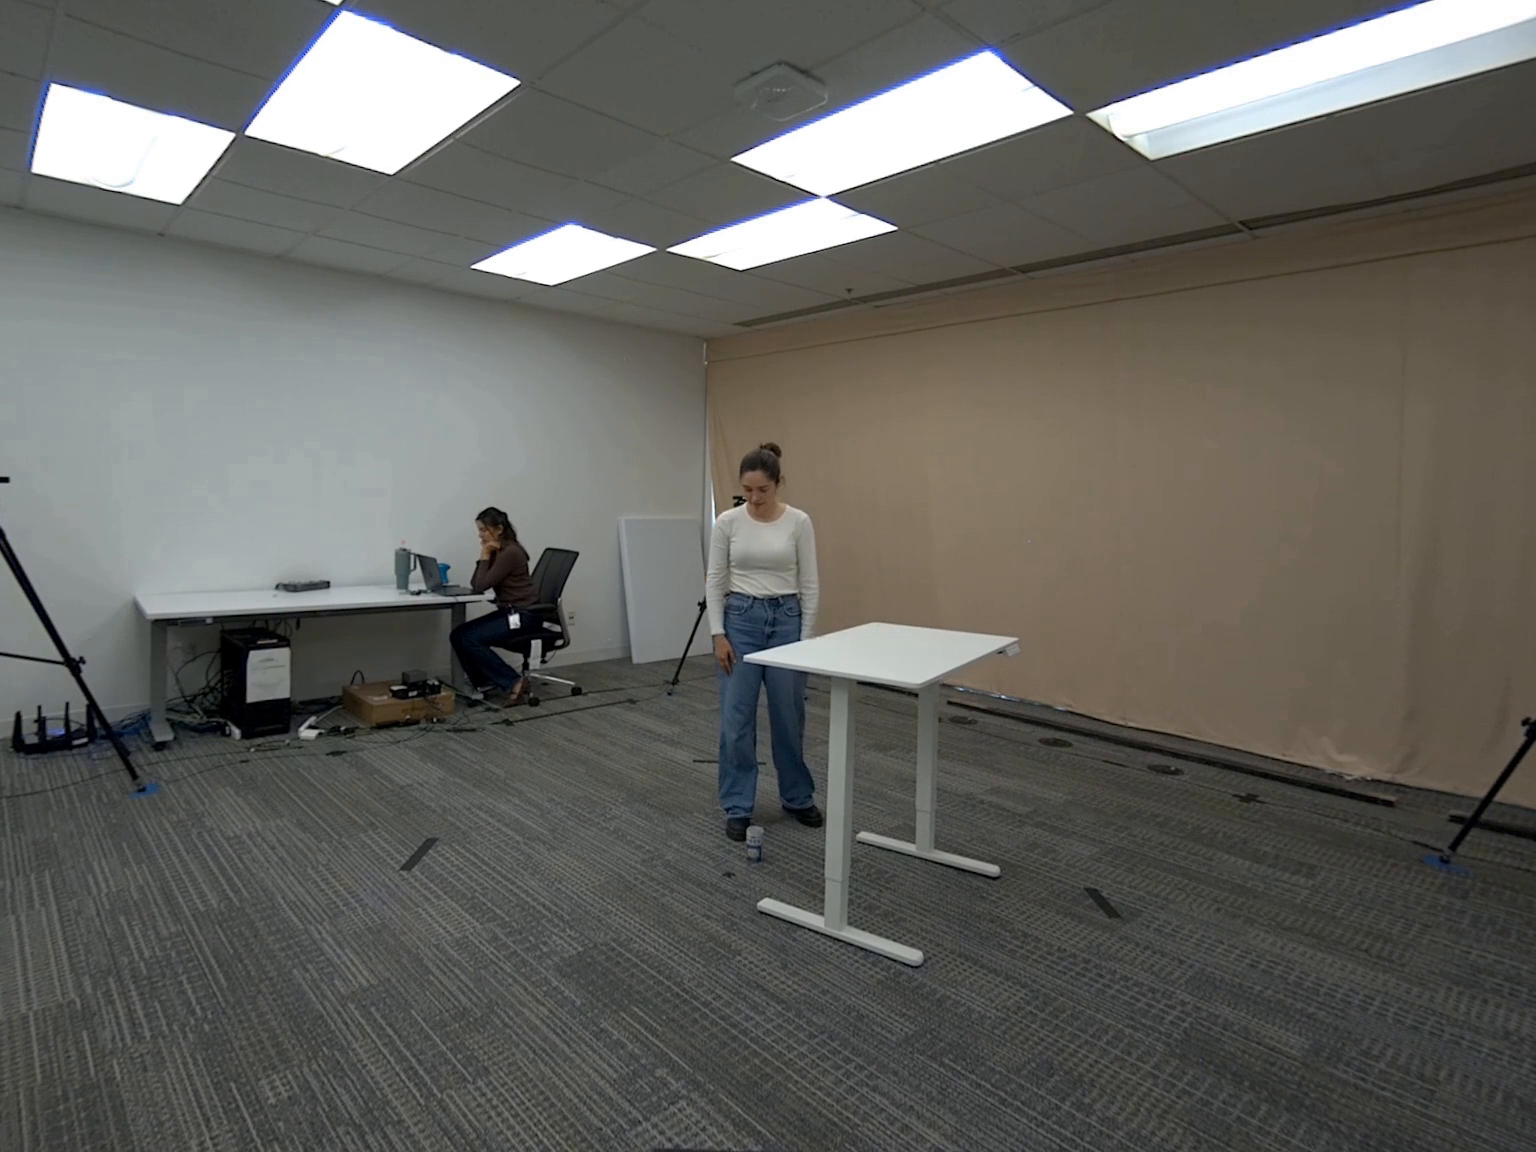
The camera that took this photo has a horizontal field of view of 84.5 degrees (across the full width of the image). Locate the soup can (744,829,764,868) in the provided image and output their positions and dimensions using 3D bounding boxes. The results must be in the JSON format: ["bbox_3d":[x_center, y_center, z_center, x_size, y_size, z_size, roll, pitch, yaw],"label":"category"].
[{"bbox_3d":[-0.057,1.040,3.237,0.067,0.121,0.067,1,4,-1],"label":"soup can"}]
